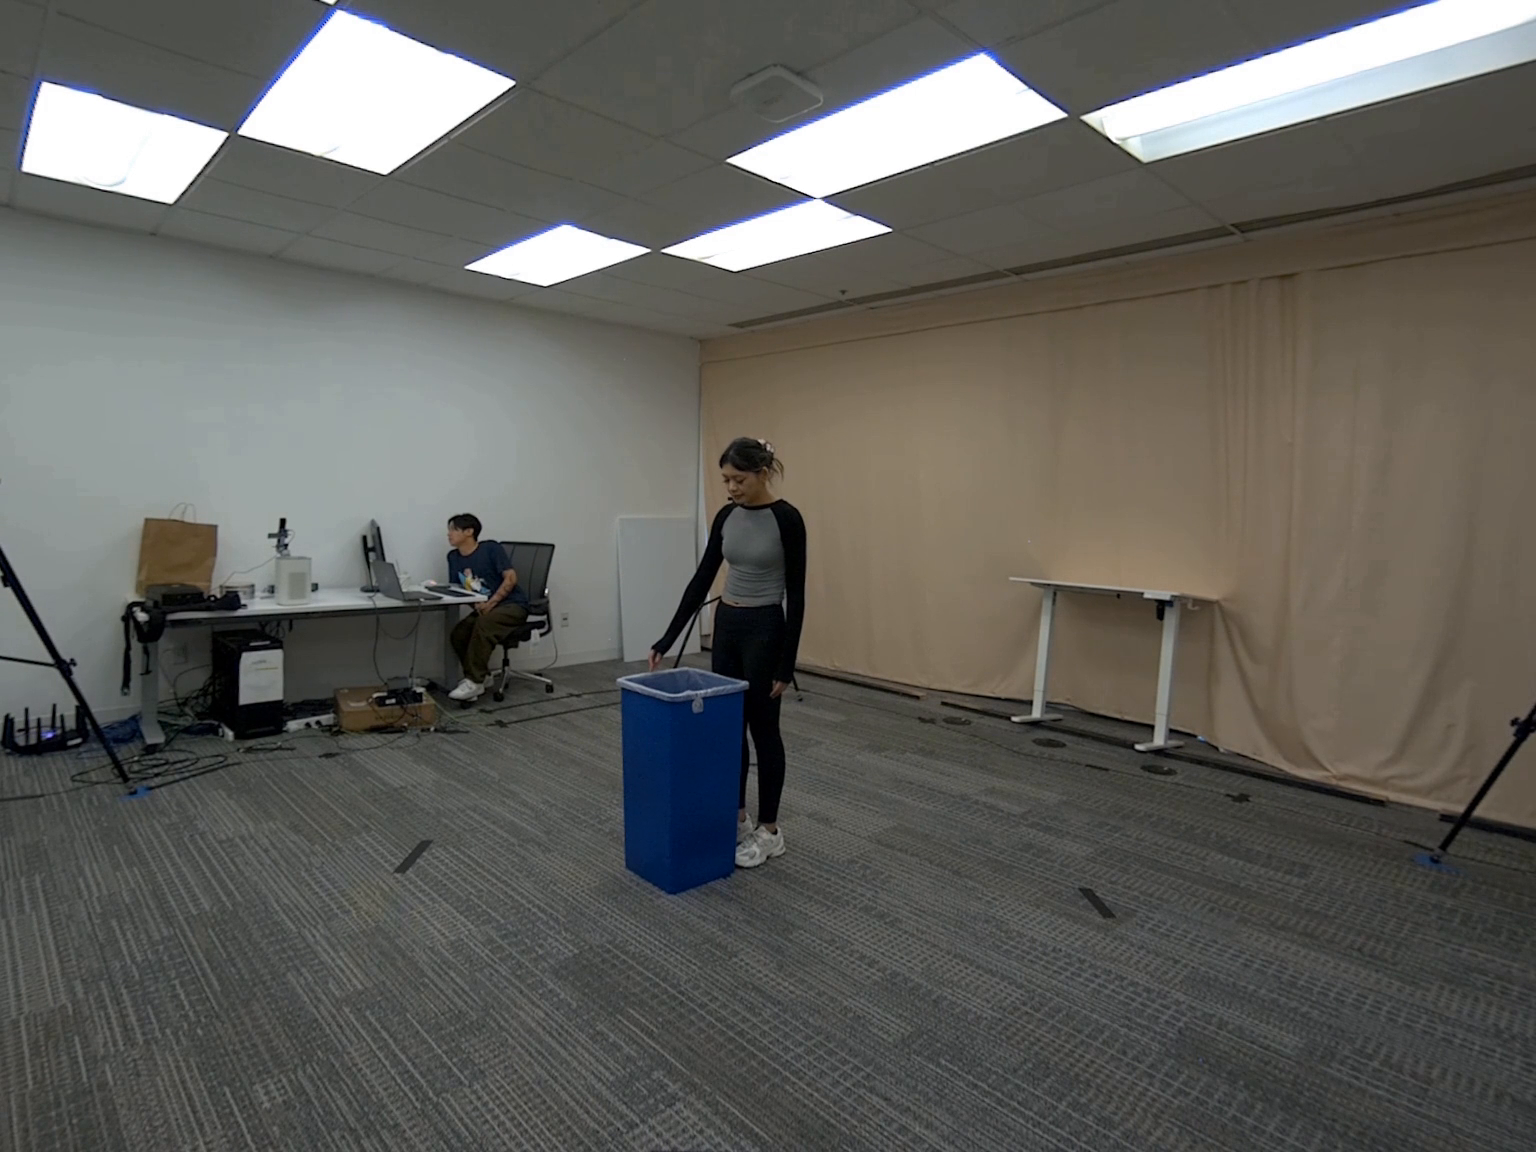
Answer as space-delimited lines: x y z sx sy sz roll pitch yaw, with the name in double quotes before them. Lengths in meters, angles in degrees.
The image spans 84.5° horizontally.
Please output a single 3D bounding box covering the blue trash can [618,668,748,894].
"blue trash can" -0.337 0.743 3.133 0.369 0.712 0.384 -2 5 -43
